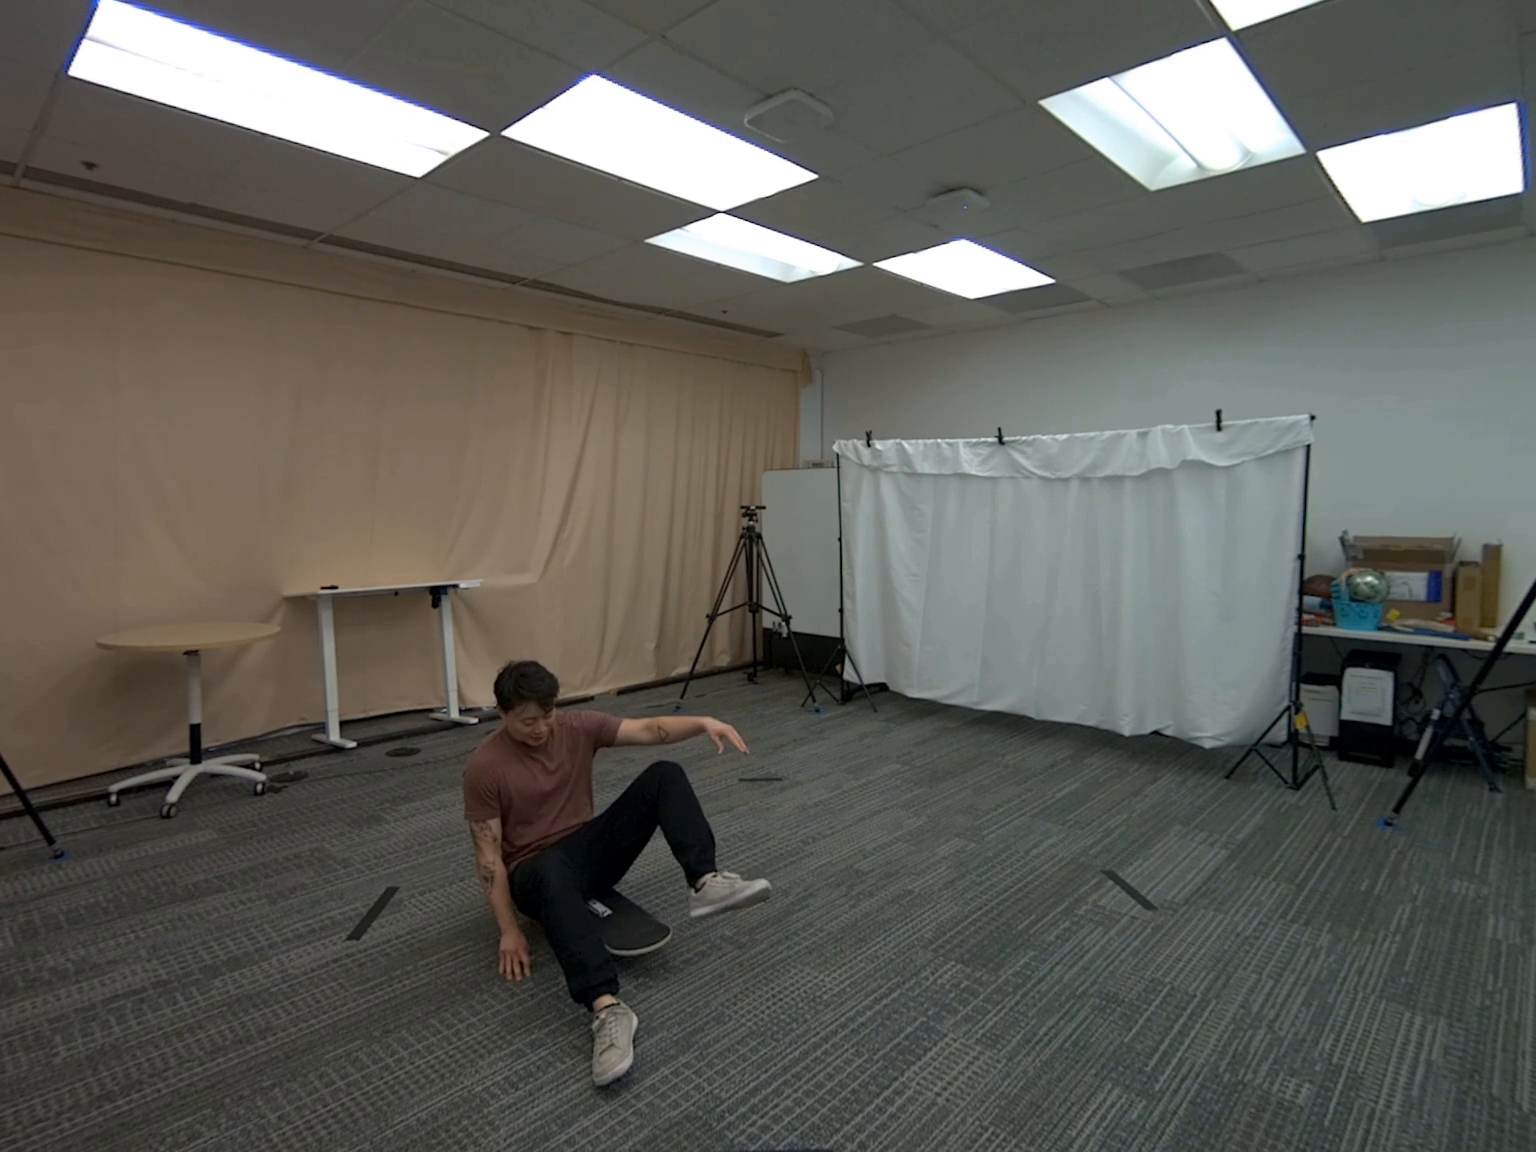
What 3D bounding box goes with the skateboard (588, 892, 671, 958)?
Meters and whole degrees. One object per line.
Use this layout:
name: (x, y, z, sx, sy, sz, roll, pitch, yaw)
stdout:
skateboard: (-0.578, 1.121, 2.764, 0.188, 0.110, 0.811, -12, 11, -39)
